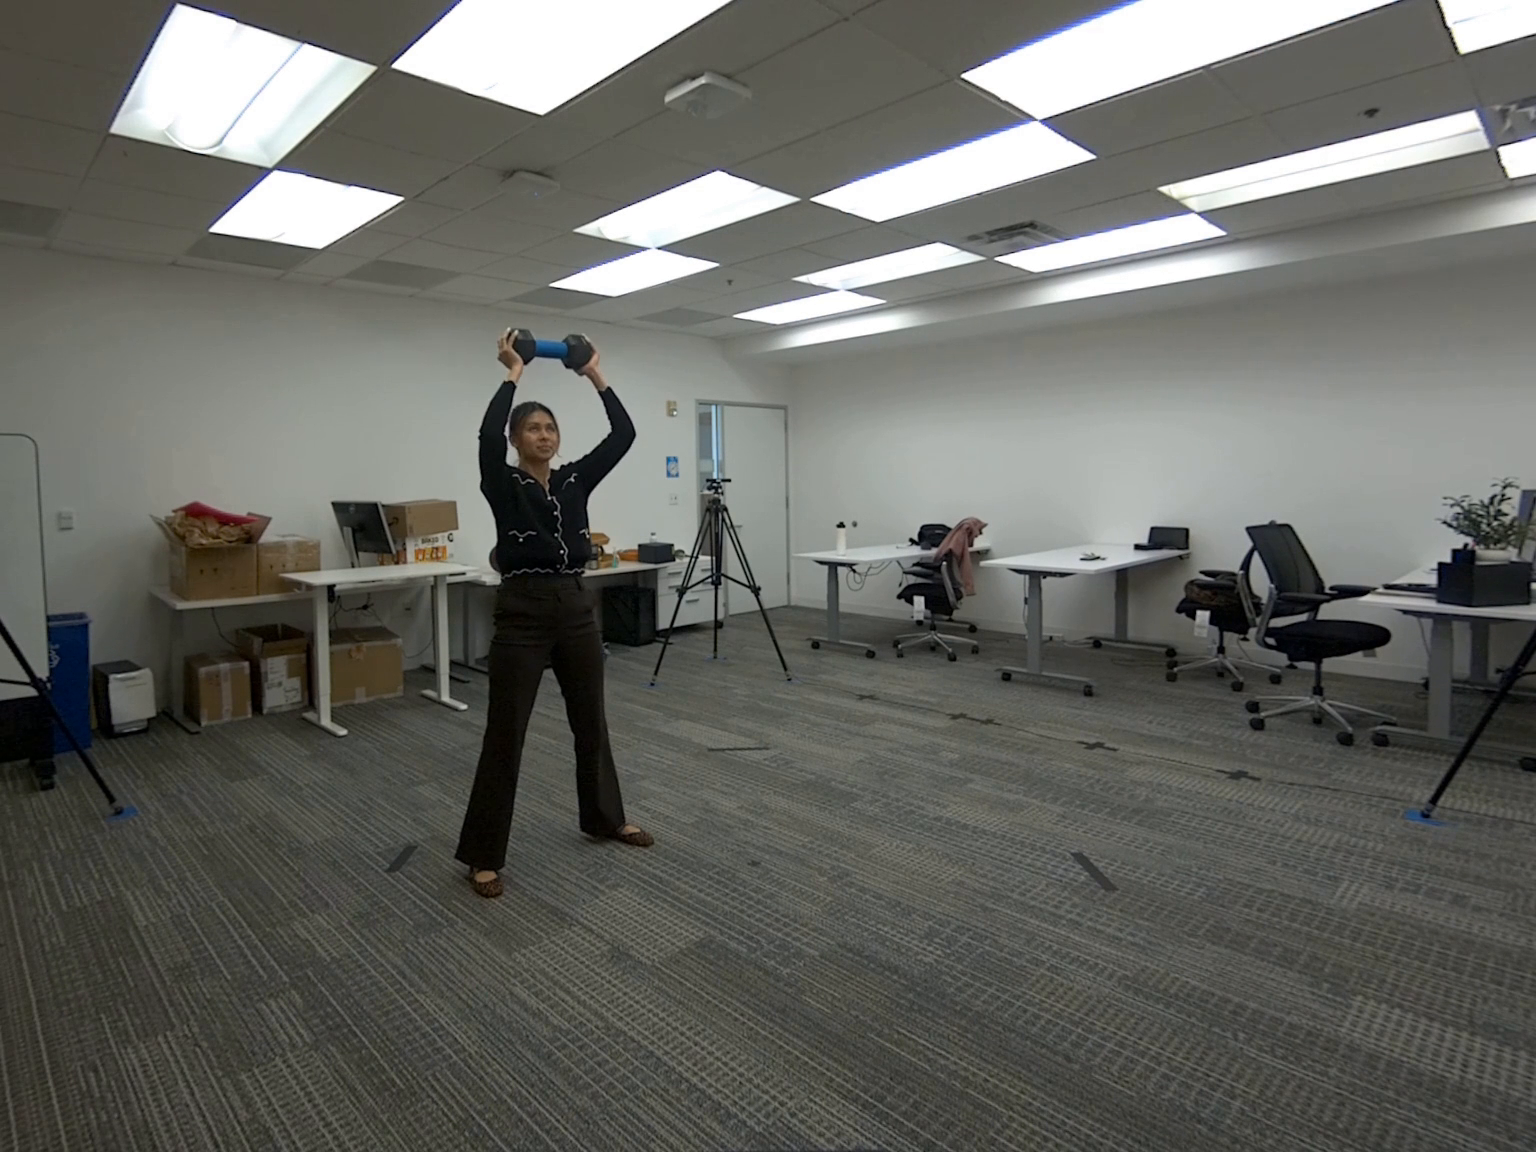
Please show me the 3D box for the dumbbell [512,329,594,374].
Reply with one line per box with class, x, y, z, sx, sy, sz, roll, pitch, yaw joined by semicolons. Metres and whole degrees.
dumbbell;-0.770;-0.790;2.988;0.286;0.108;0.127;-4;47;-38
